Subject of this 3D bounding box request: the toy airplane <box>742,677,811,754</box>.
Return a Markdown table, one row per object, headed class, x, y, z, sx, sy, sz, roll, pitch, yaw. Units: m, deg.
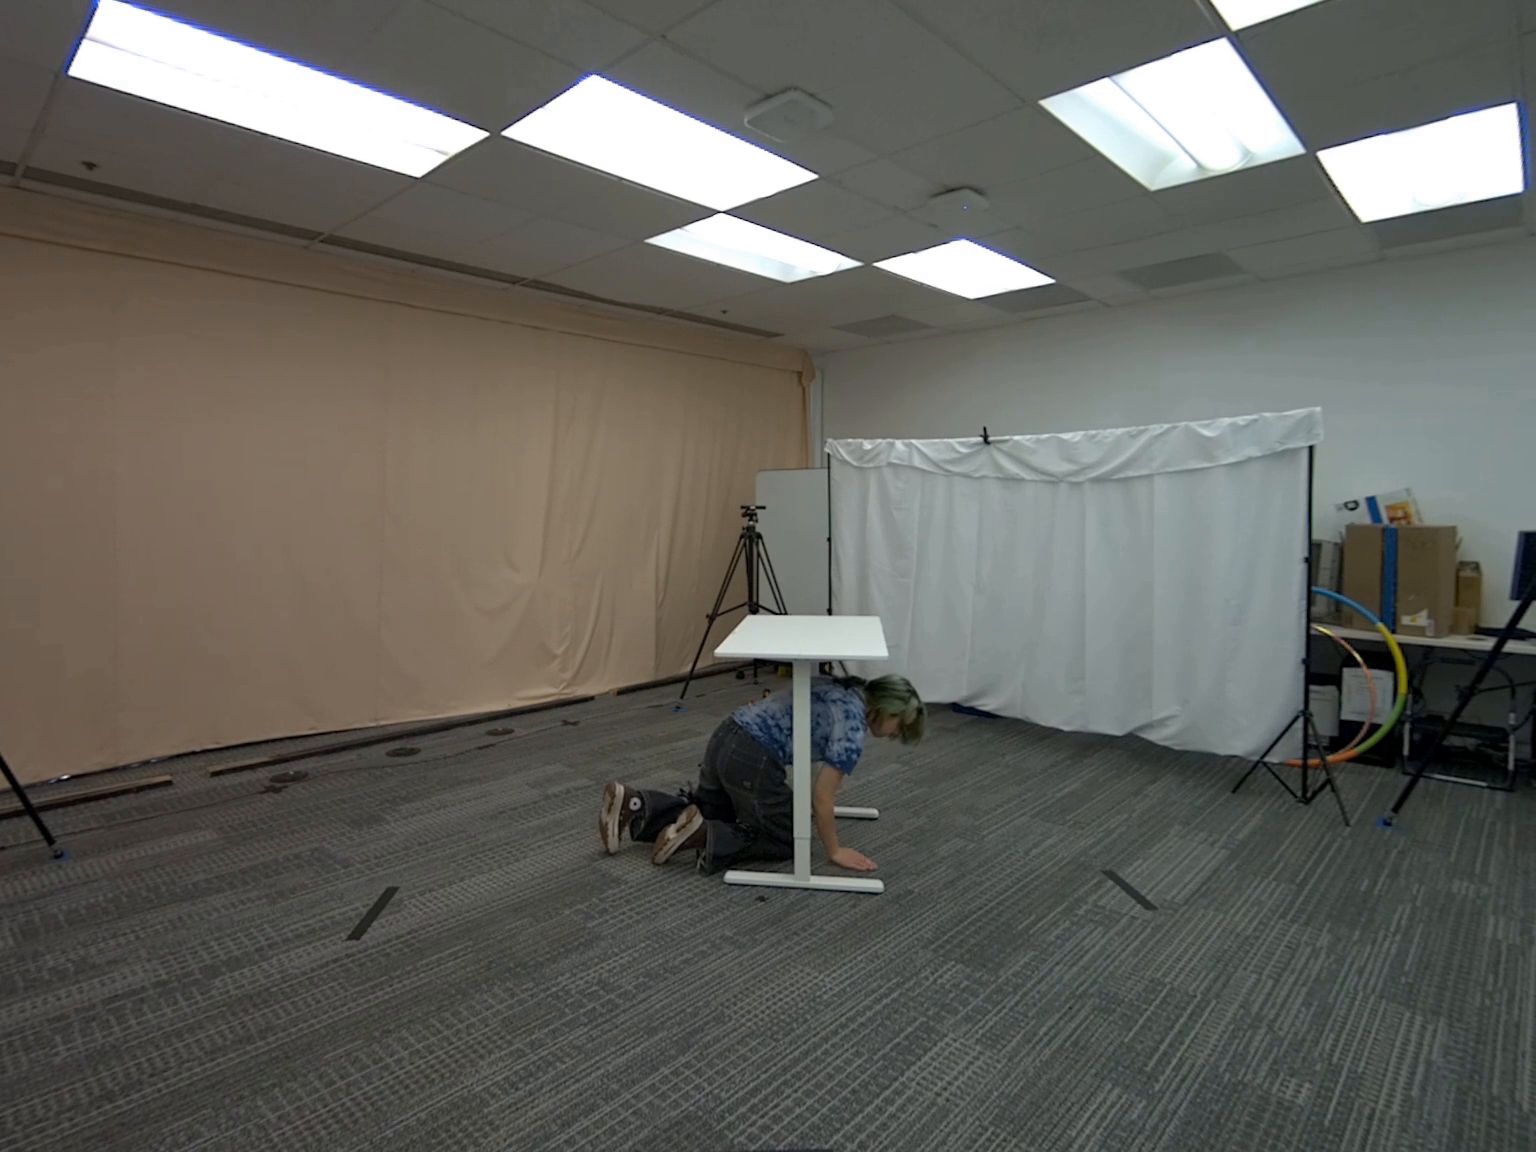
| class | x | y | z | sx | sy | sz | roll | pitch | yaw |
| --- | --- | --- | --- | --- | --- | --- | --- | --- | --- |
| toy airplane | 0.062 | 0.606 | 3.578 | 0.255 | 0.253 | 0.158 | -23 | 28 | 27 |
